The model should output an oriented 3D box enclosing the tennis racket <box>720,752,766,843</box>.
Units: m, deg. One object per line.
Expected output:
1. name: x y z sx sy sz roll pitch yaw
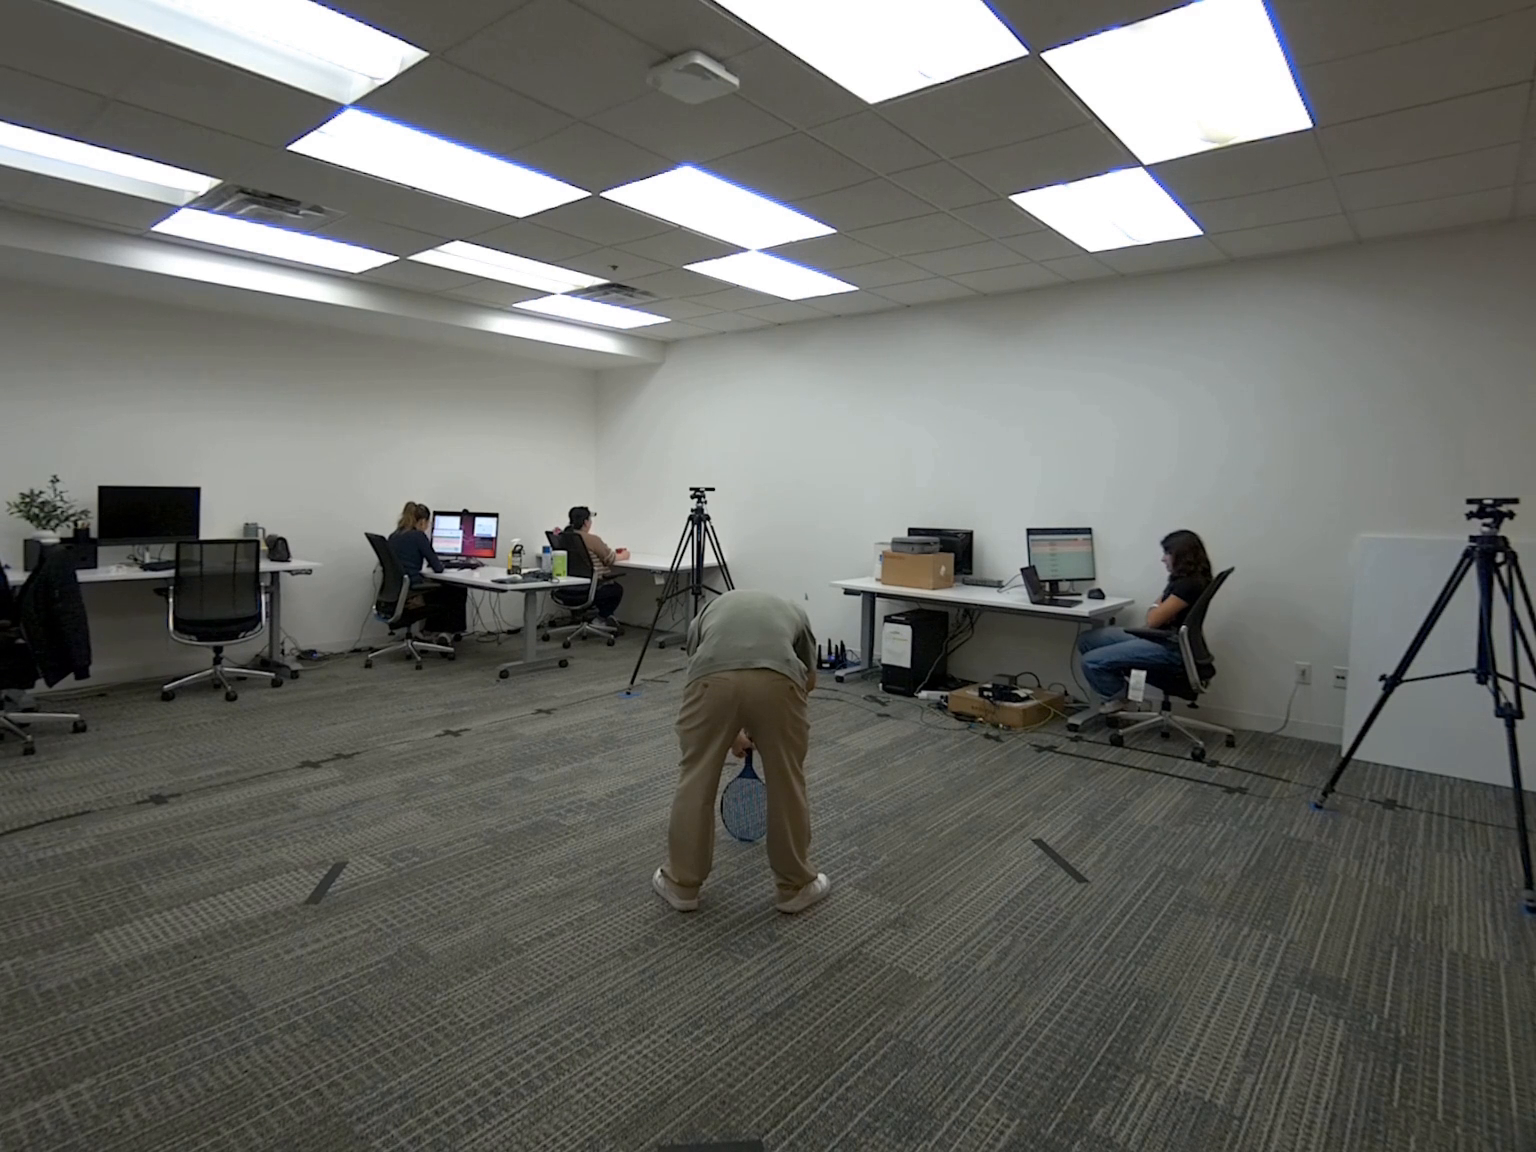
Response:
1. tennis racket: -0.082 0.833 3.339 0.216 0.430 0.031 7 7 8
